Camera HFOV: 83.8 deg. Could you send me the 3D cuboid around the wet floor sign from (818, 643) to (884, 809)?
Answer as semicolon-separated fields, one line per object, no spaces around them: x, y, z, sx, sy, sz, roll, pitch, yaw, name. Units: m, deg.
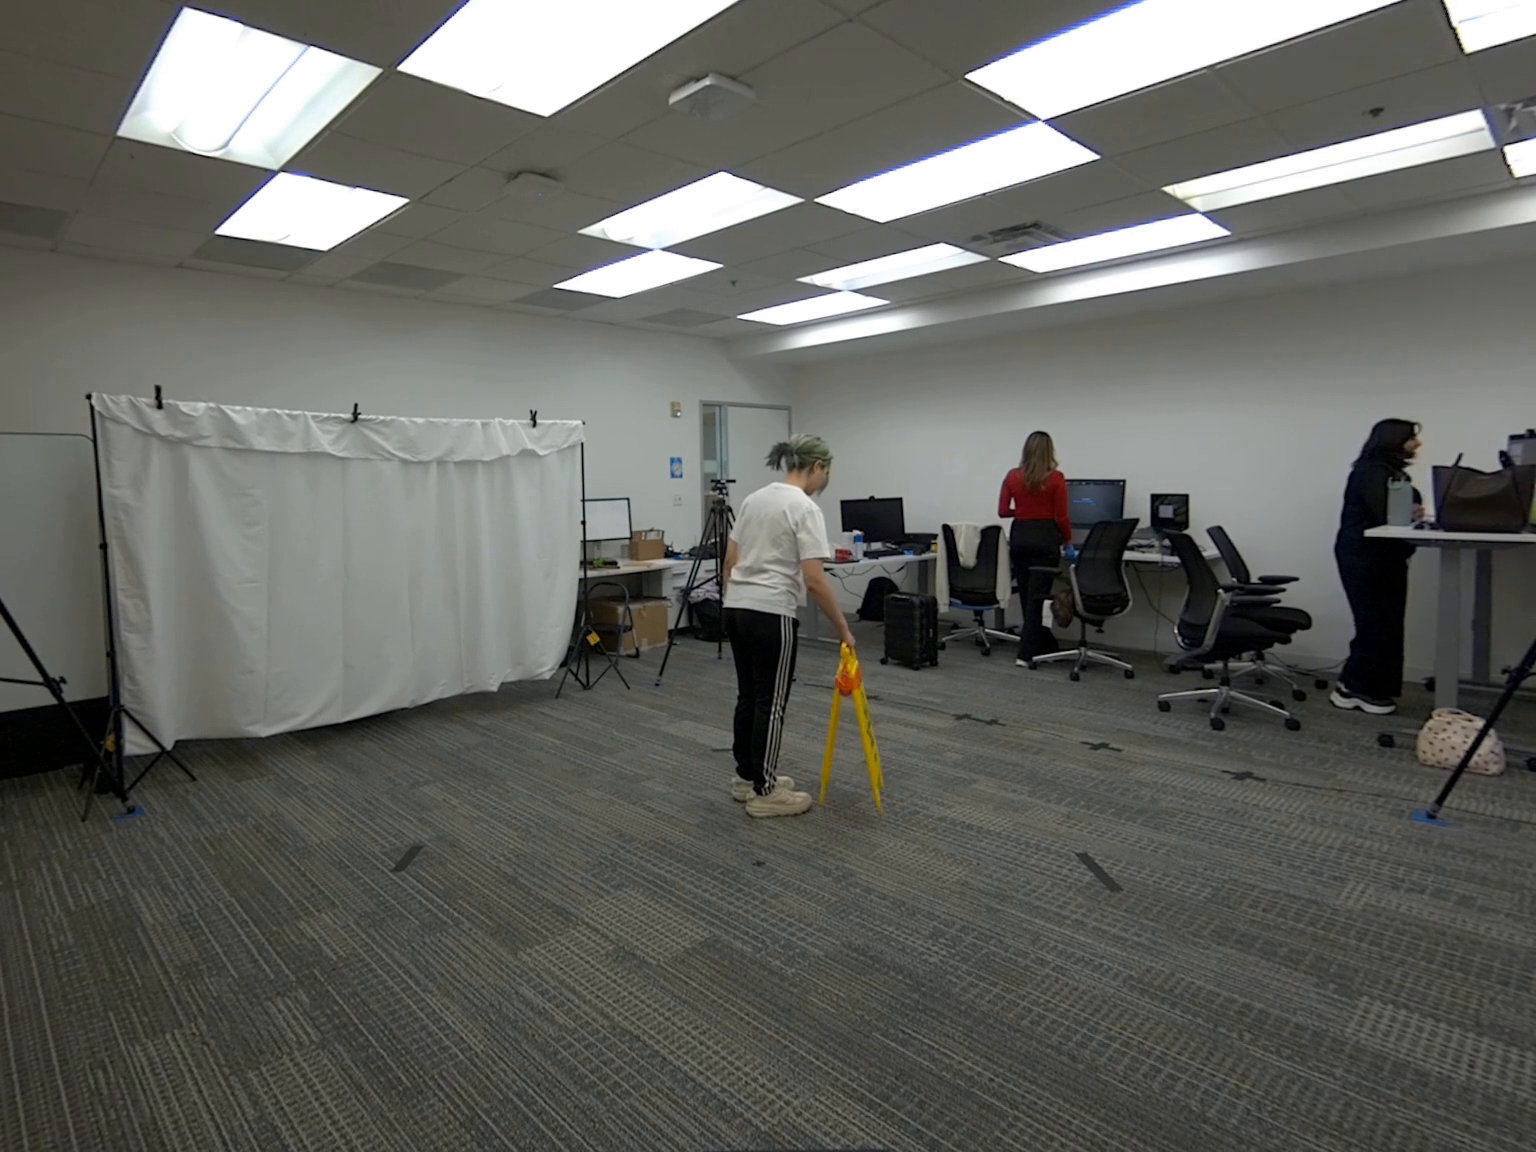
0.334;0.587;3.512;0.293;0.642;0.281;0;8;12;wet floor sign
